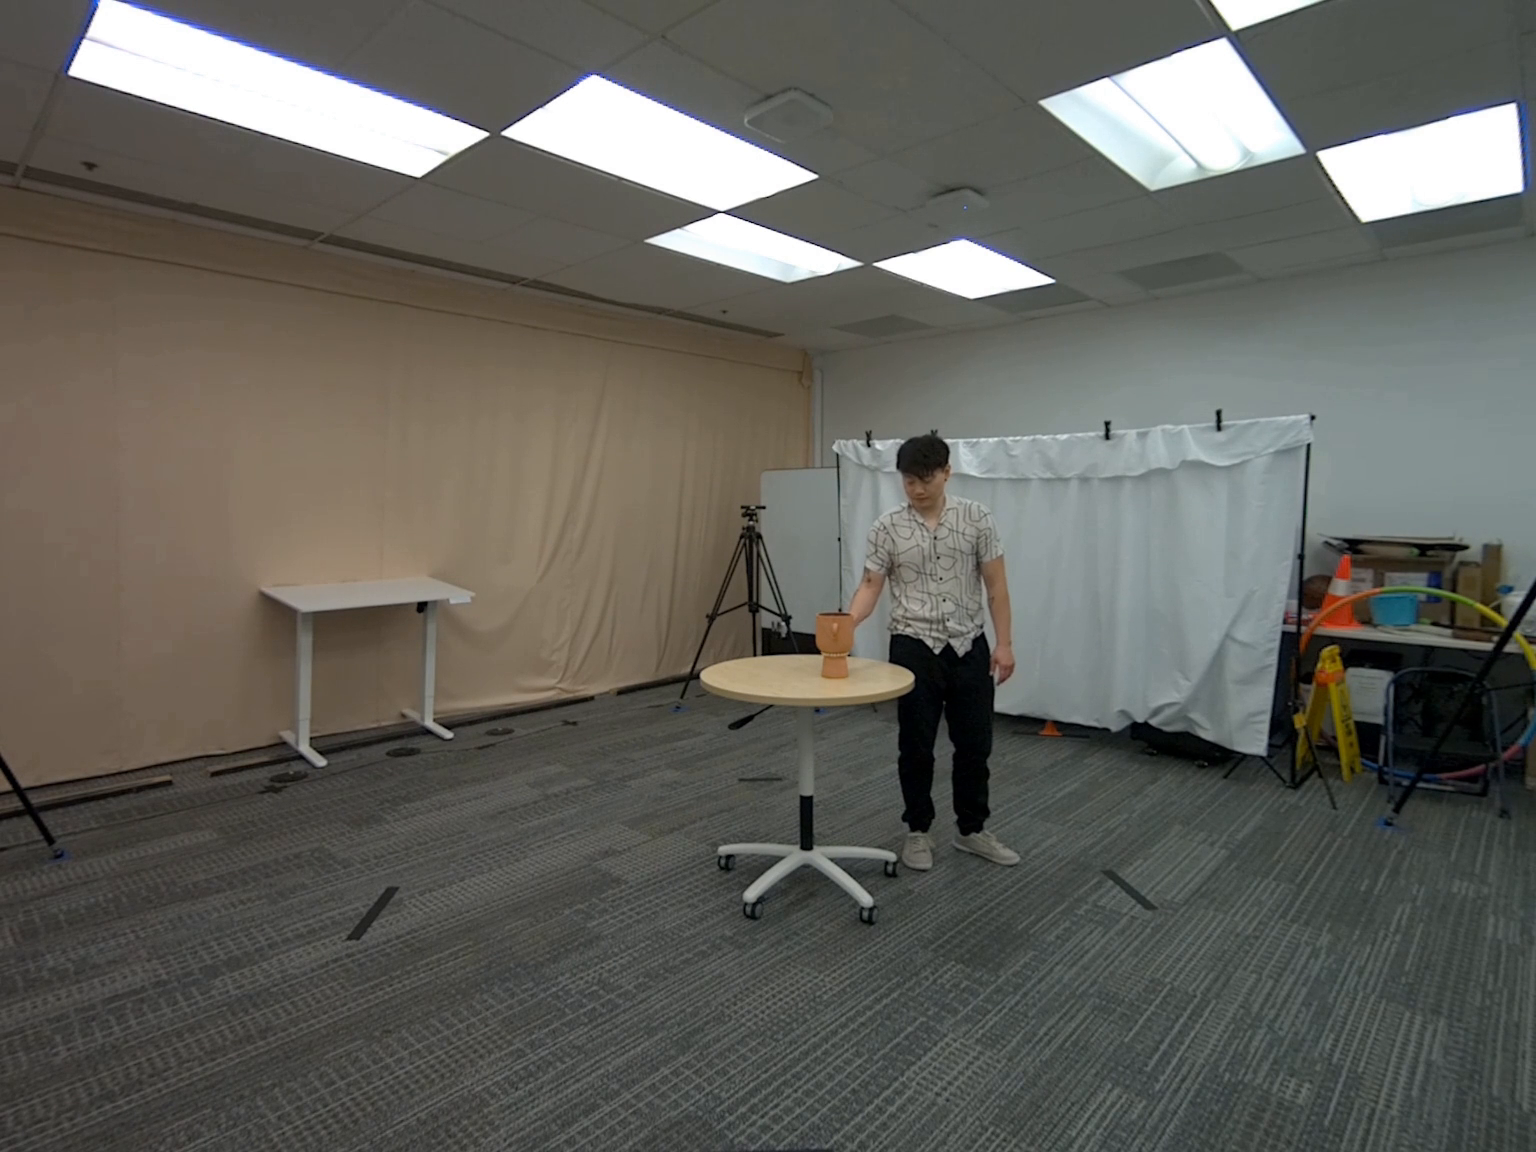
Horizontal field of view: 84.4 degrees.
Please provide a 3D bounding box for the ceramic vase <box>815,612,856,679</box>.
[{"bbox_3d":[0.246,0.248,2.987,0.154,0.219,0.139,-2,4,-45],"label":"ceramic vase"}]
